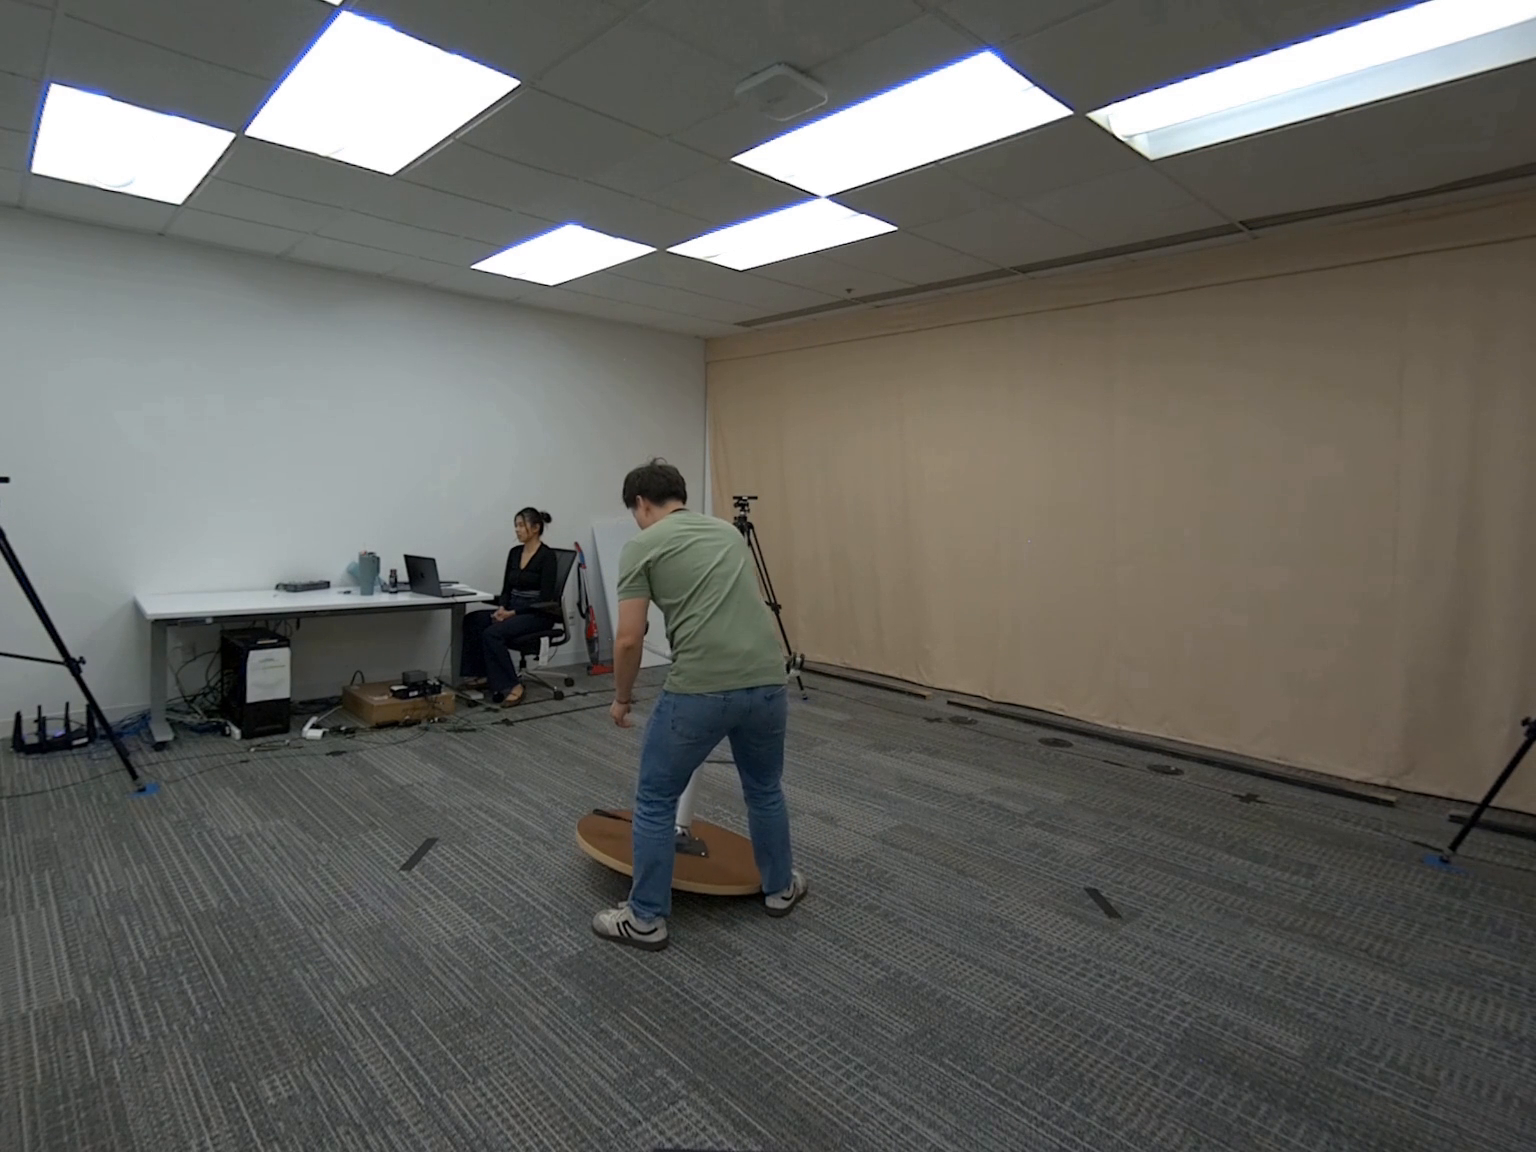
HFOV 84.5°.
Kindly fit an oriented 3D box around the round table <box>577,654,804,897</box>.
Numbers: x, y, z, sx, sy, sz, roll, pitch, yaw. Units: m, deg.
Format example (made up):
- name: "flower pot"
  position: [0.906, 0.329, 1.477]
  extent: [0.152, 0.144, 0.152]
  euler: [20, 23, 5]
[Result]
- name: "round table"
  position: [-0.260, 0.631, 3.128]
  extent: [0.764, 0.795, 0.763]
  euler: [12, -2, -1]
